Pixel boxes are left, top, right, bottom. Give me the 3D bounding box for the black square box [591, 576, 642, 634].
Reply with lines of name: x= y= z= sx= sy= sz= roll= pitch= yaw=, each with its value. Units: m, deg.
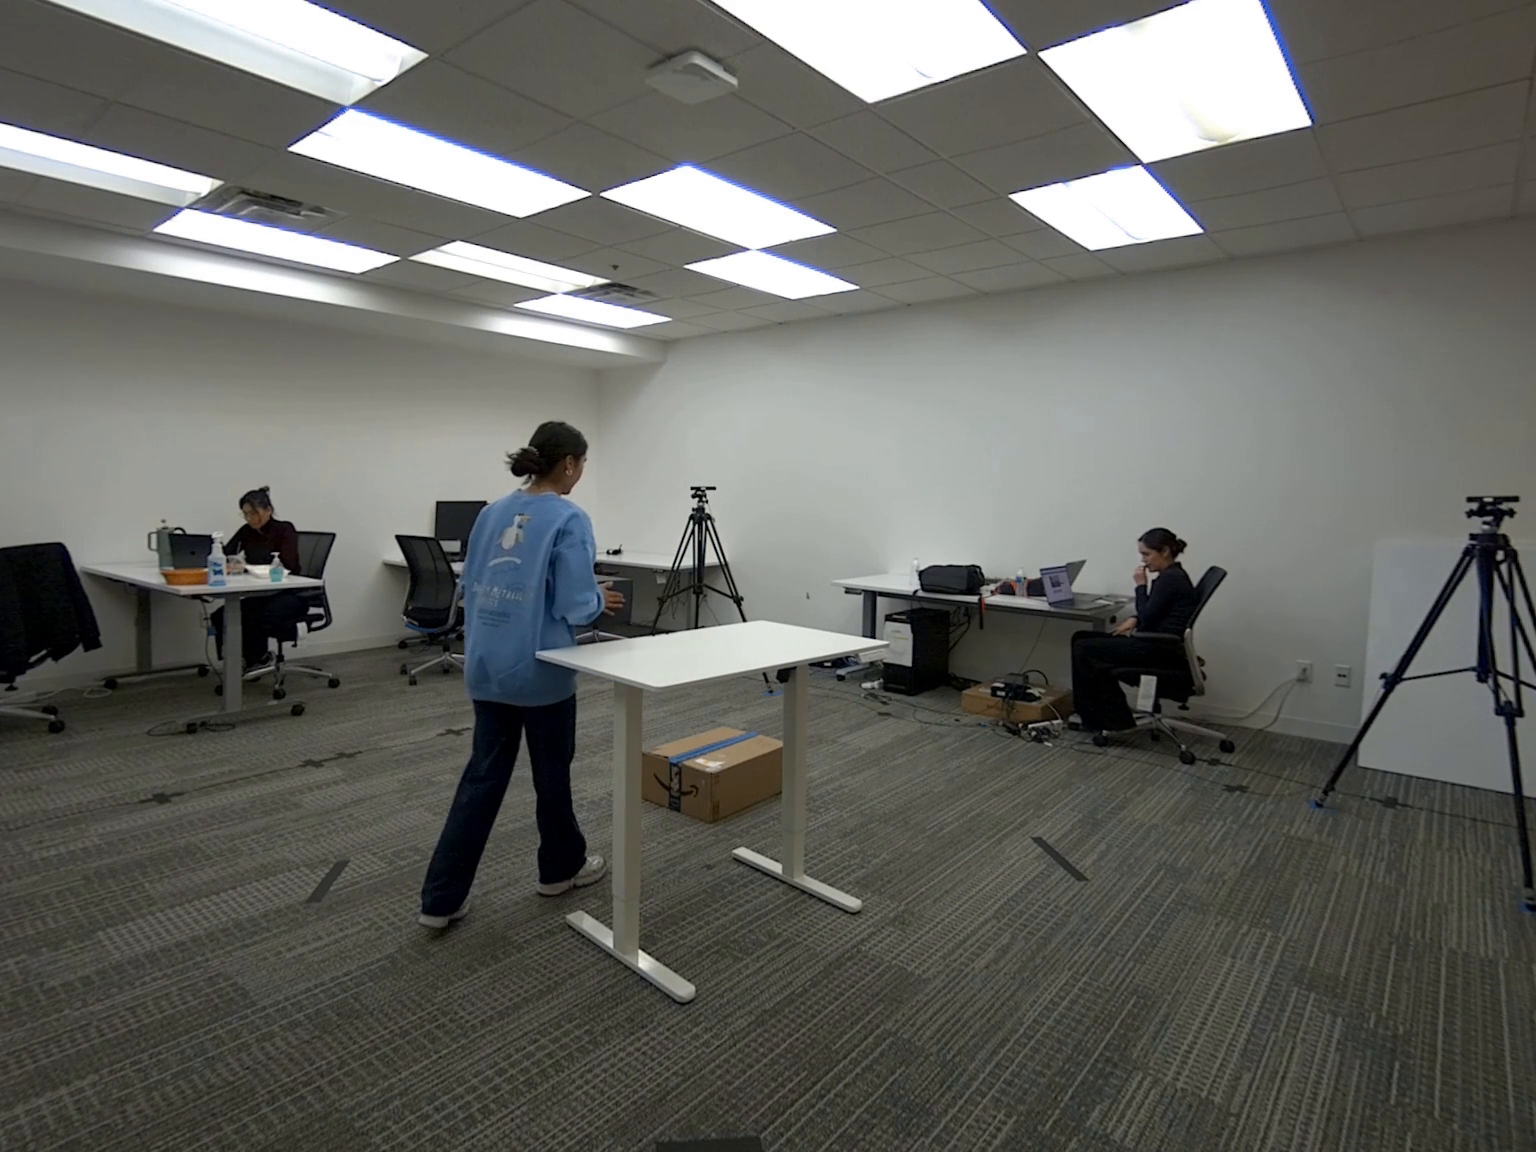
black square box: x=-0.647 y=0.081 z=3.036 sx=0.224 sy=0.155 sz=0.221 roll=4 pitch=4 yaw=39
